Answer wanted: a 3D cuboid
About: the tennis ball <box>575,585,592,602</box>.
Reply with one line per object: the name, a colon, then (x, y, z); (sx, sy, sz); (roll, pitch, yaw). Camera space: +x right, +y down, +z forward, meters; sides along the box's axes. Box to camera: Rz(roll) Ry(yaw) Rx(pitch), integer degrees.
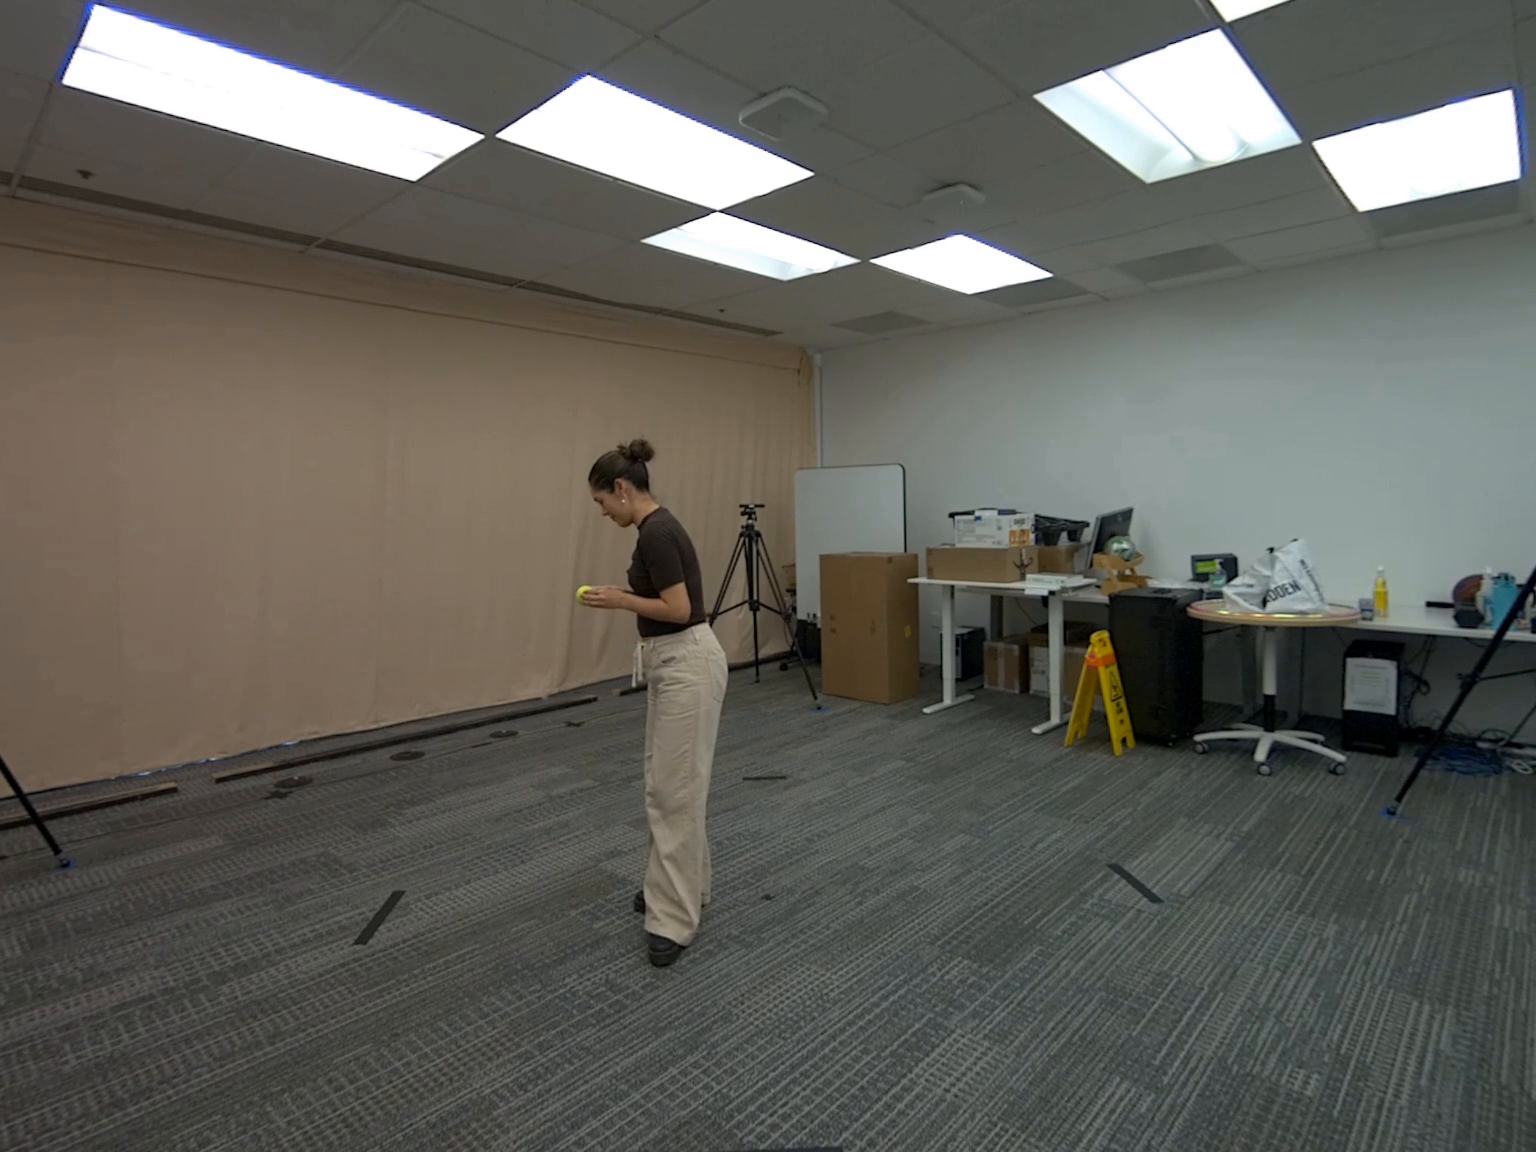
tennis ball: (-0.577, 0.065, 2.770); (0.066, 0.066, 0.067); (-1, 4, -2)
